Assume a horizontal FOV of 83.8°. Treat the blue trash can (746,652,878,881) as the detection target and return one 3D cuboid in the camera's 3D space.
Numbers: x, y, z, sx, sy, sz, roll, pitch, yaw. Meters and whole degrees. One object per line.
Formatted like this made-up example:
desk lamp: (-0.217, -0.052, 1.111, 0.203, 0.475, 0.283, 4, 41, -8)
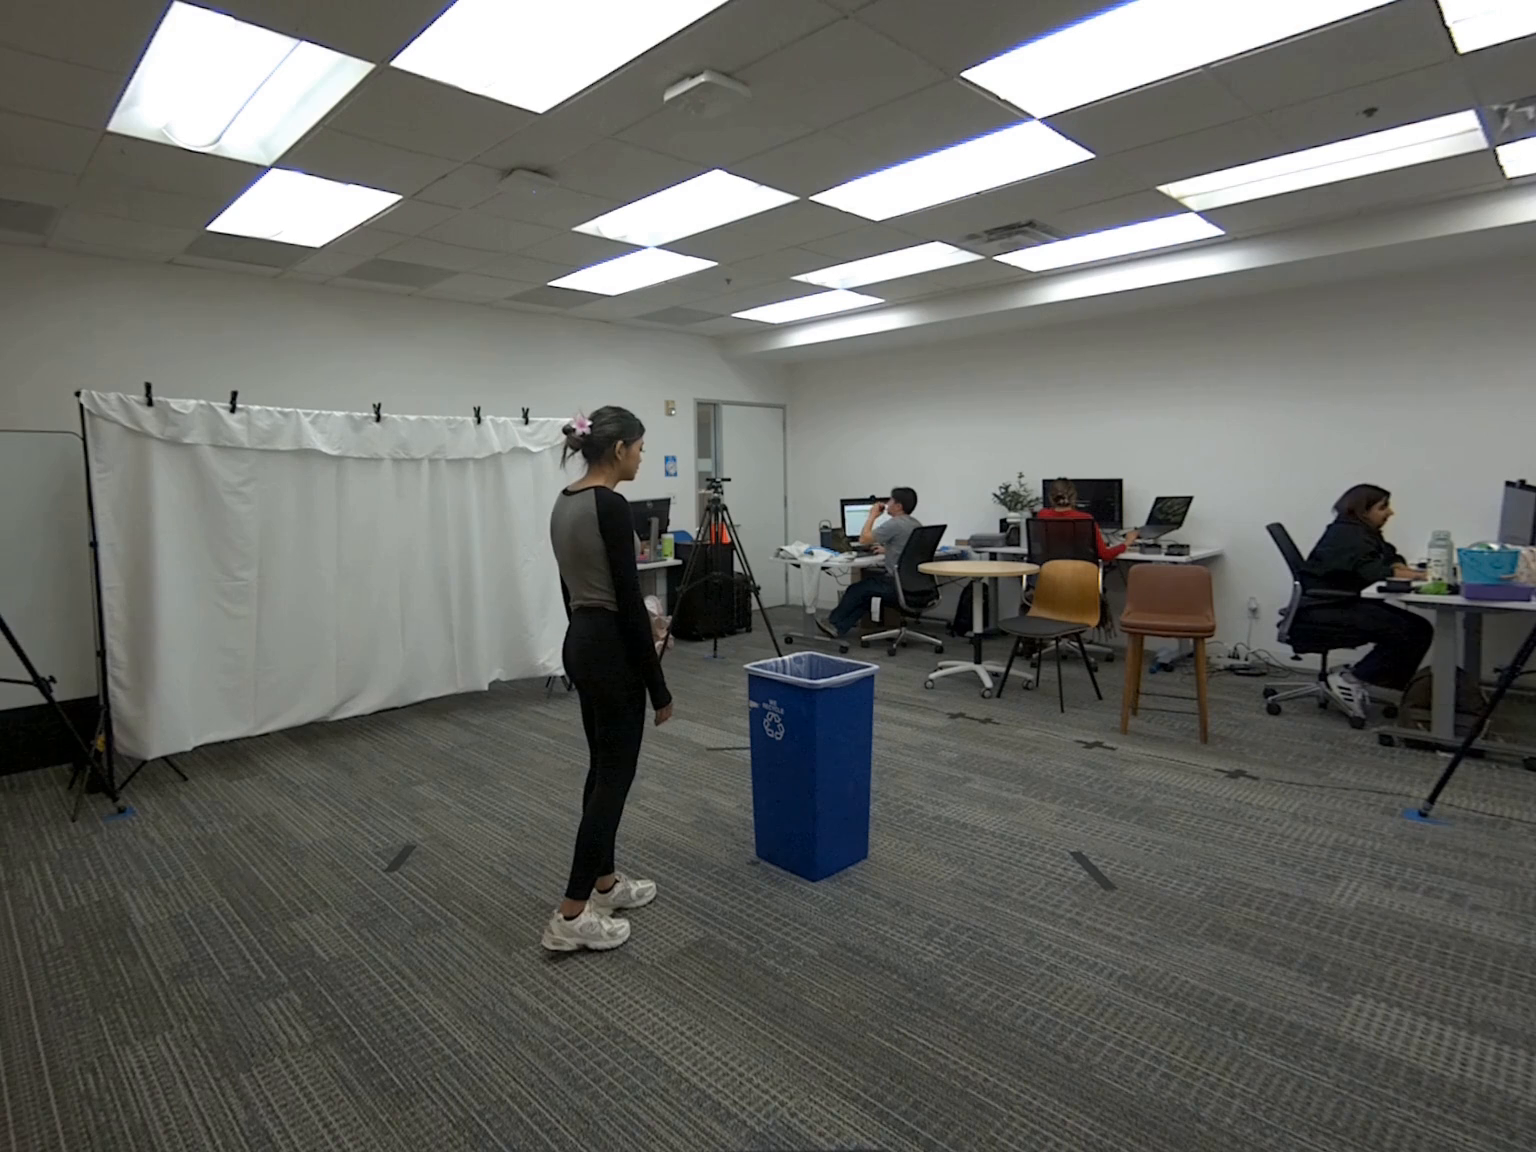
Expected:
blue trash can: (0.168, 0.679, 3.126, 0.368, 0.711, 0.385, -5, 6, -44)
